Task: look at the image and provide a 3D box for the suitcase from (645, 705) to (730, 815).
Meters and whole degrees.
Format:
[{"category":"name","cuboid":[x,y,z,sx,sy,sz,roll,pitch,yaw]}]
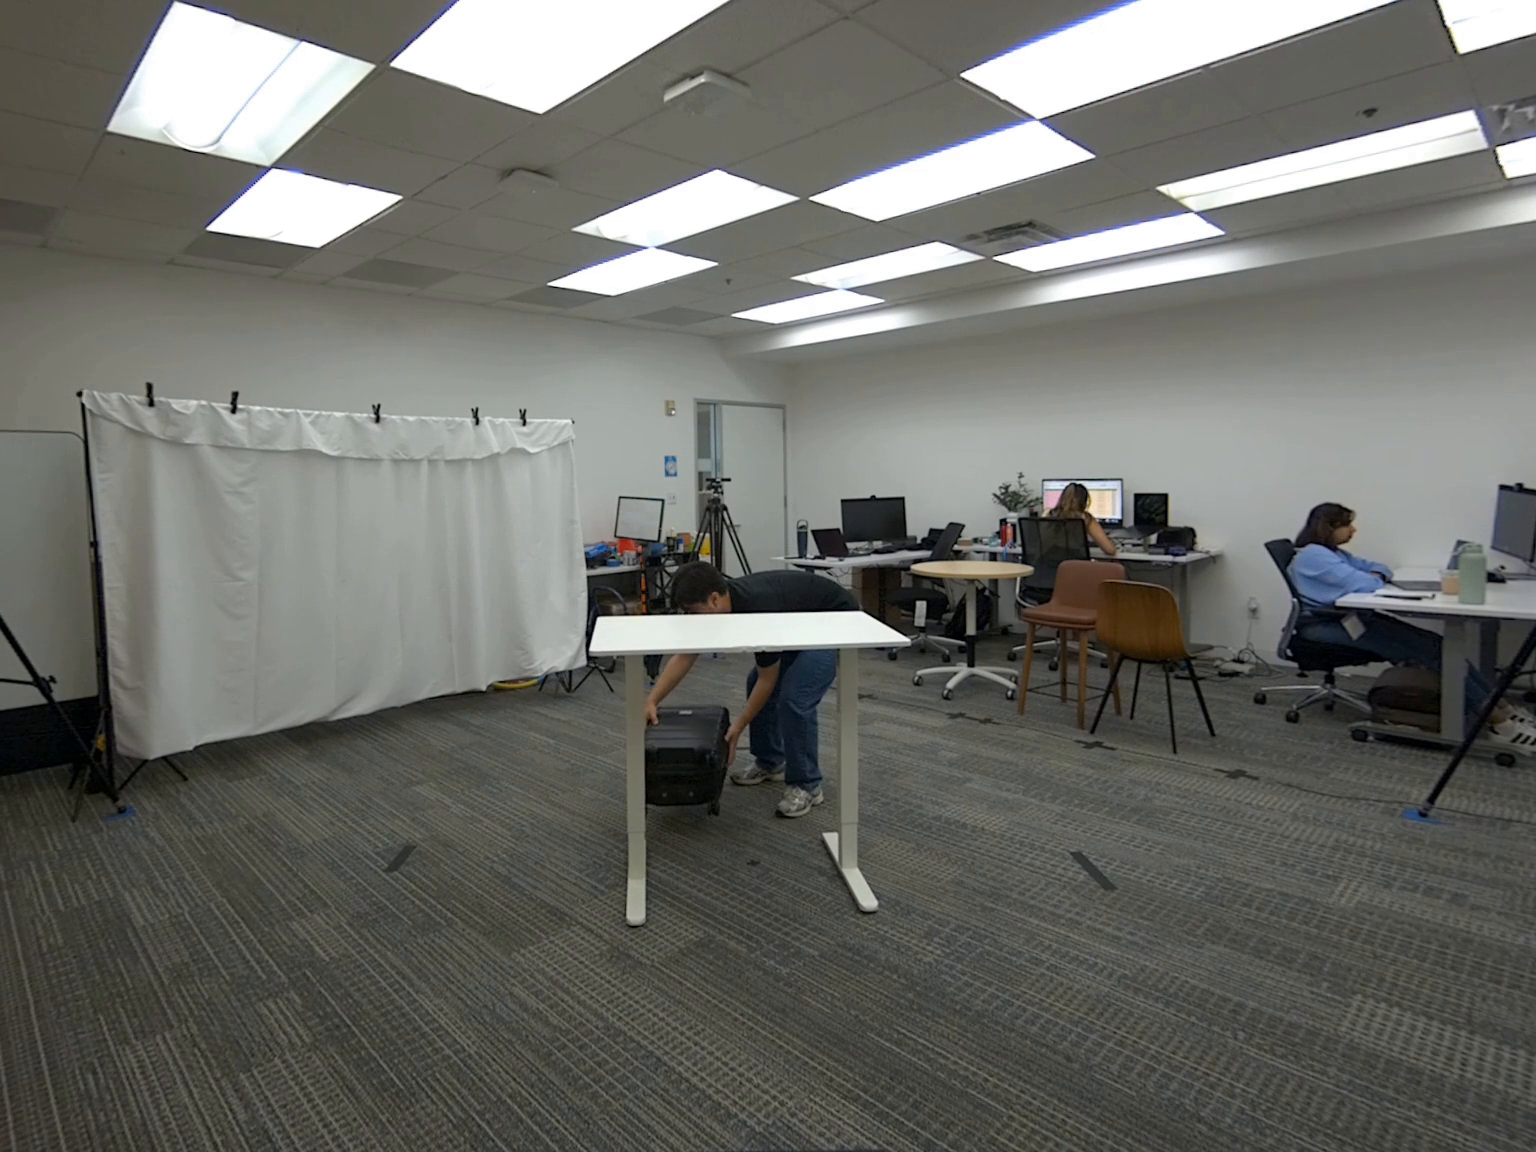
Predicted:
[{"category":"suitcase","cuboid":[-0.337,0.688,3.768,0.386,0.254,0.986,-3,14,4]}]
